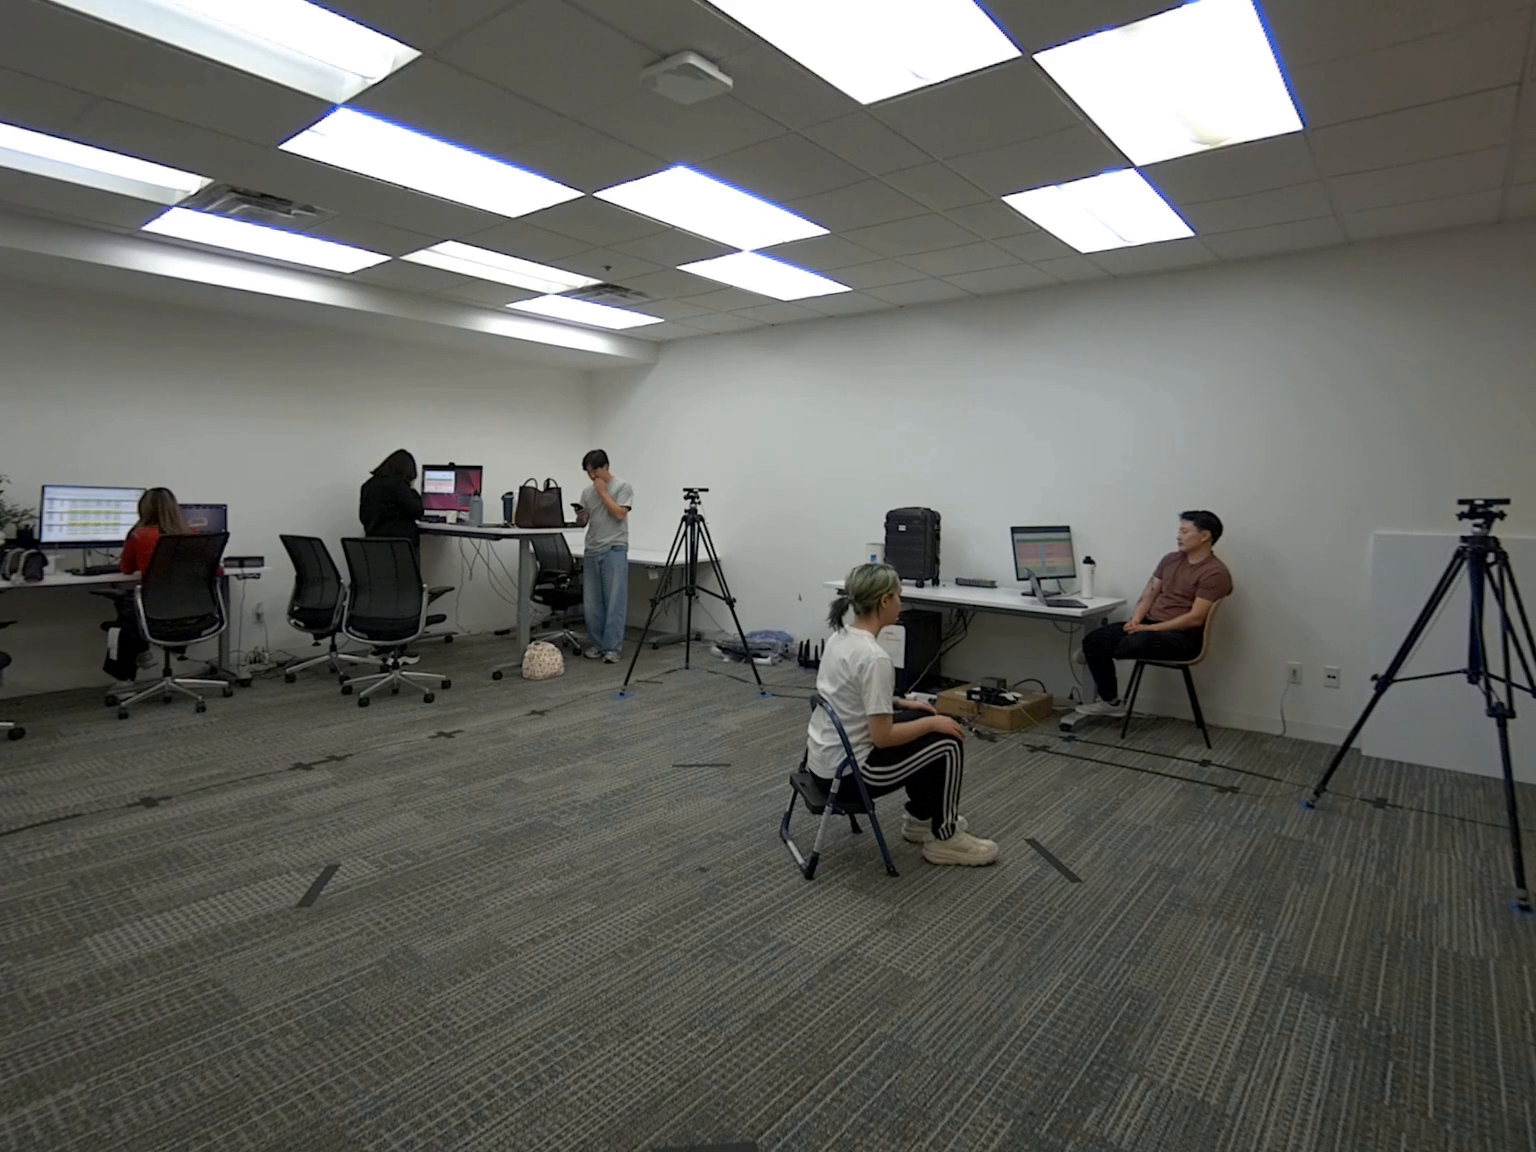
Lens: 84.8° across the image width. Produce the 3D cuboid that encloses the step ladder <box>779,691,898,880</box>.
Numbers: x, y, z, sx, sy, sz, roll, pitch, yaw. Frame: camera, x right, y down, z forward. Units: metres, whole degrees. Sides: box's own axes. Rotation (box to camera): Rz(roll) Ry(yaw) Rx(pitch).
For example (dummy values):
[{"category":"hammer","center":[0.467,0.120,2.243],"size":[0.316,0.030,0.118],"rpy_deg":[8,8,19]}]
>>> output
[{"category":"step ladder","center":[0.257,0.767,3.256],"size":[0.345,0.604,0.438],"rpy_deg":[1,4,-13]}]
